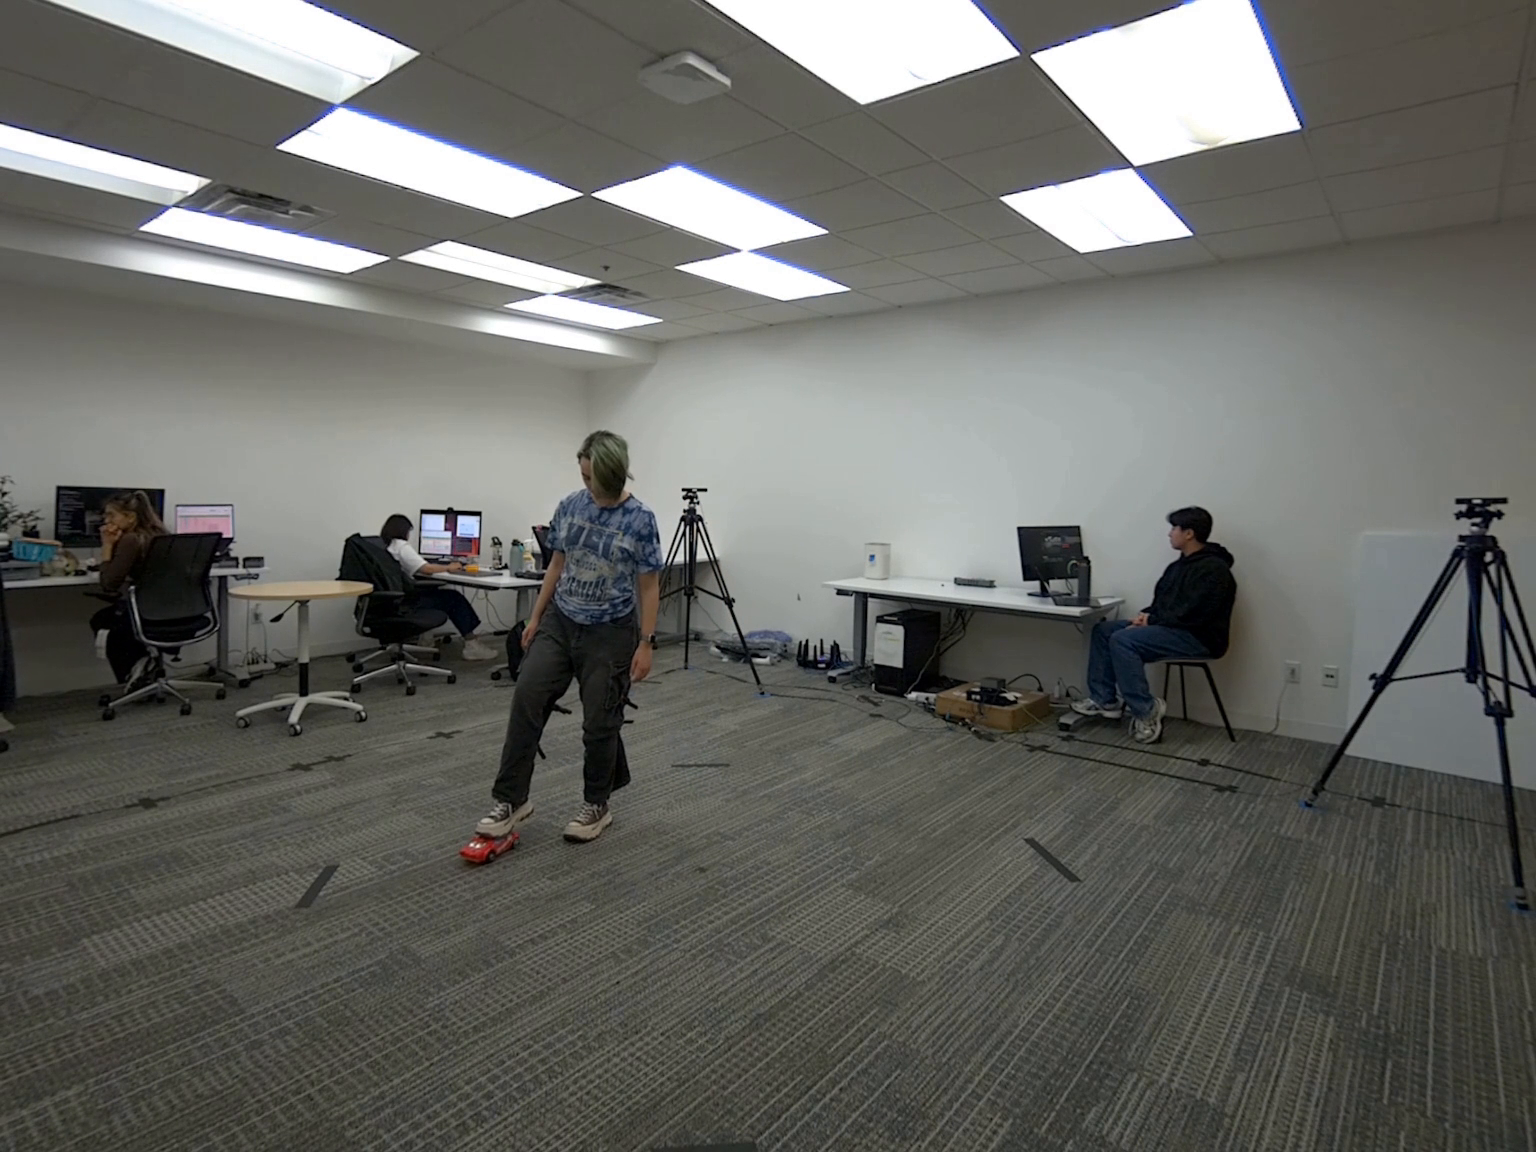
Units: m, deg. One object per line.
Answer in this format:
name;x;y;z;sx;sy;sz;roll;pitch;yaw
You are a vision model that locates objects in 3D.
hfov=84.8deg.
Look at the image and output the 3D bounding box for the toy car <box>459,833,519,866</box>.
toy car;-1.066;1.021;3.195;0.133;0.084;0.247;2;-6;24
